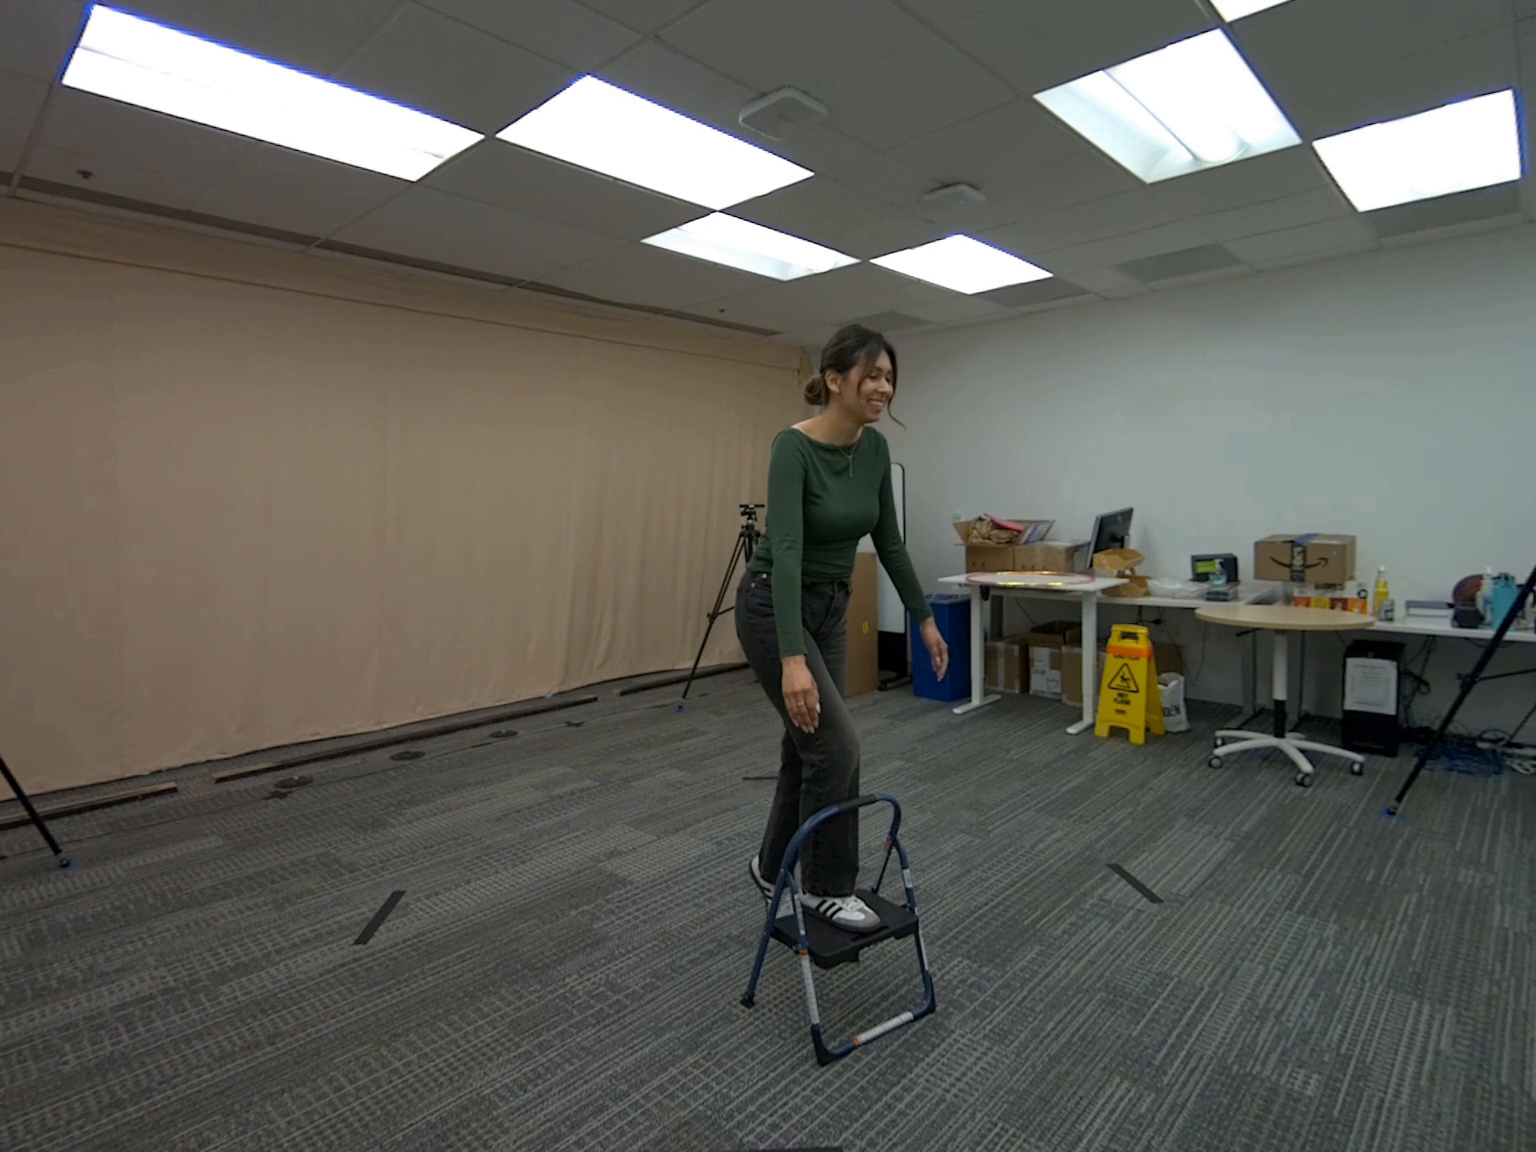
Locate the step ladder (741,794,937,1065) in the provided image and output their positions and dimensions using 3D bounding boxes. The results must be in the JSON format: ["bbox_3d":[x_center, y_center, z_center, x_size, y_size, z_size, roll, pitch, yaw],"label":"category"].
[{"bbox_3d":[0.198,0.893,2.316,0.418,0.605,0.360,-4,4,-36],"label":"step ladder"}]
